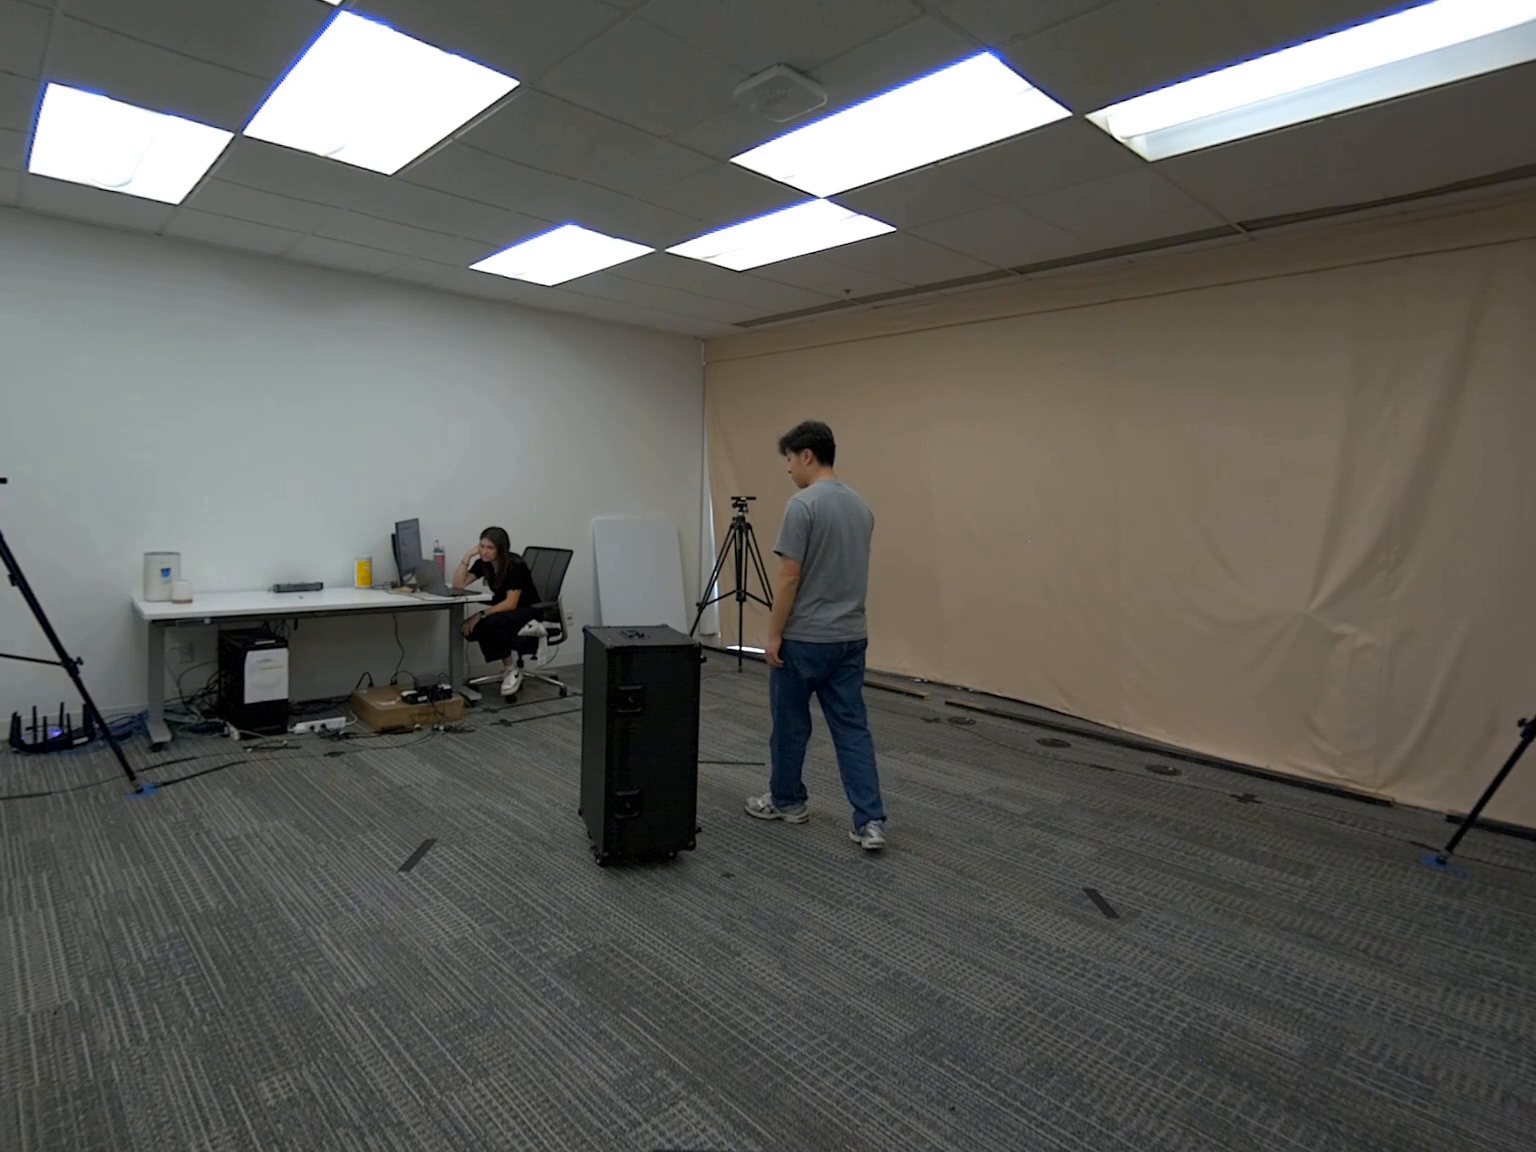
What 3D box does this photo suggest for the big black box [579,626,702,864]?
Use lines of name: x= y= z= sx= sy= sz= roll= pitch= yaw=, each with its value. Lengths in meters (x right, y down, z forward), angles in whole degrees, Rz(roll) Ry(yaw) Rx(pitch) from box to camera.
big black box: x=-0.514 y=0.653 z=3.310 sx=0.390 sy=0.860 sz=0.531 roll=2 pitch=3 yaw=-22
